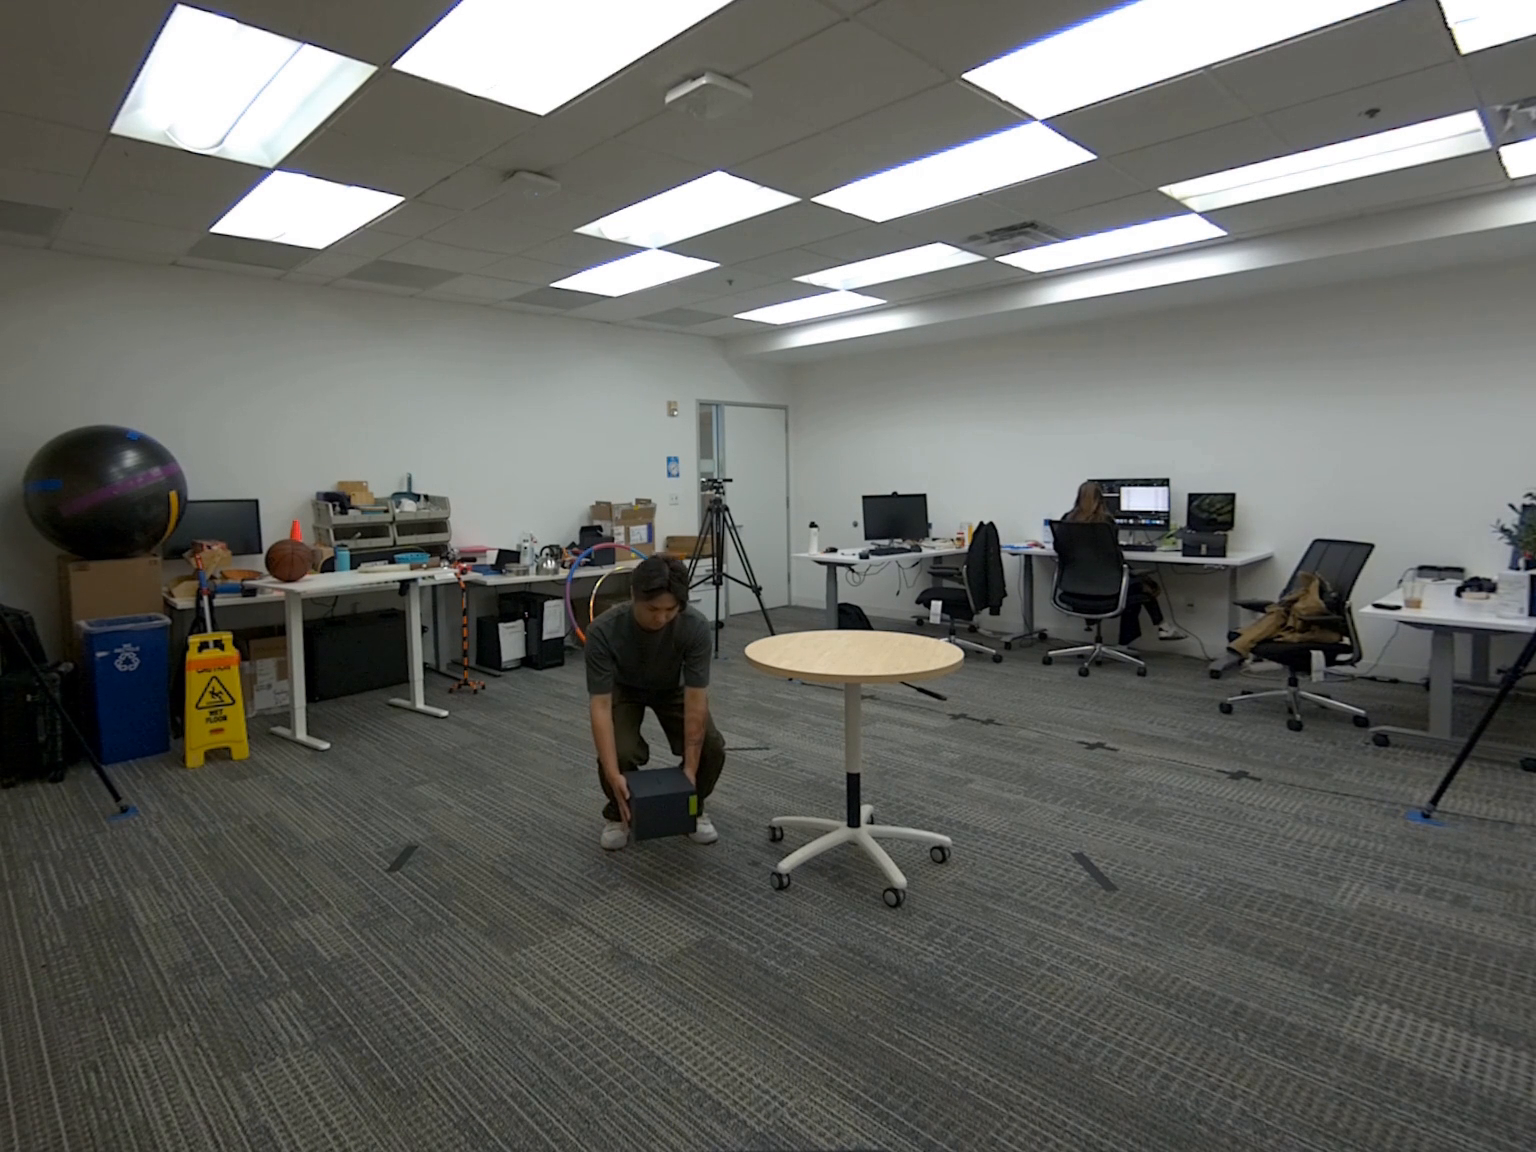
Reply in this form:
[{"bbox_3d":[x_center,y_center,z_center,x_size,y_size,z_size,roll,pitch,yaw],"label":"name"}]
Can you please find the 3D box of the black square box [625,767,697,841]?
[{"bbox_3d":[-0.386,0.791,2.972,0.213,0.155,0.233,-2,8,-20],"label":"black square box"}]
